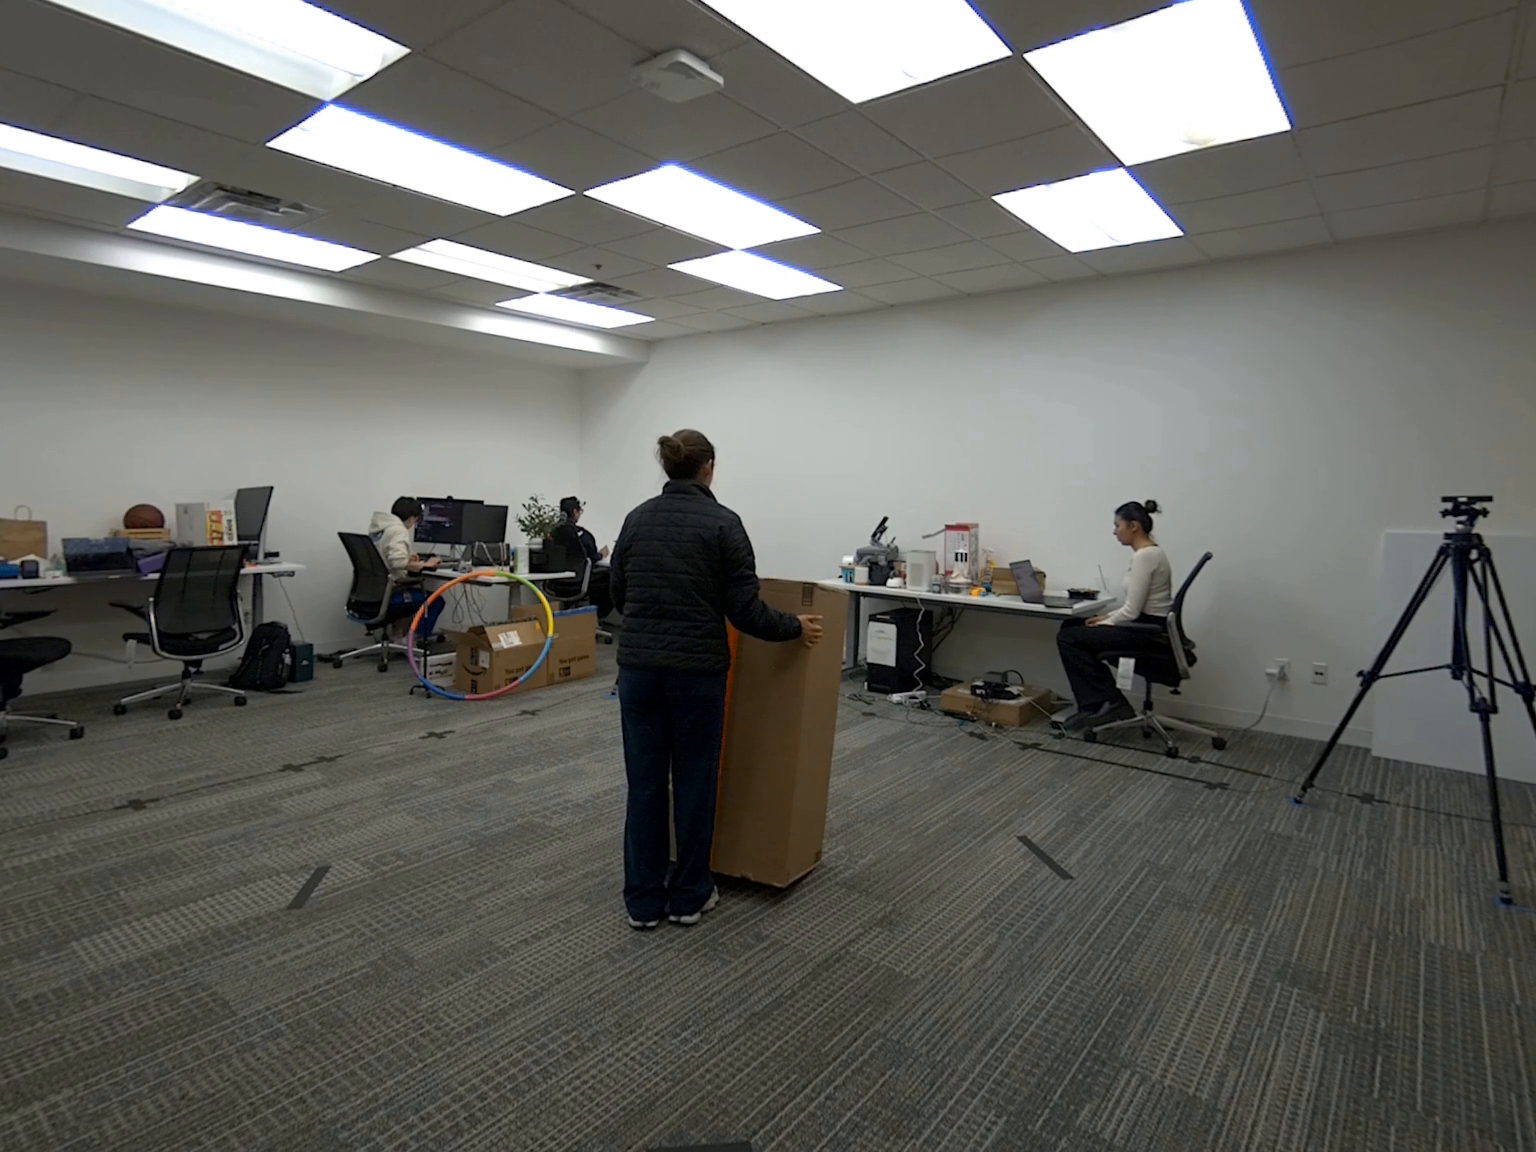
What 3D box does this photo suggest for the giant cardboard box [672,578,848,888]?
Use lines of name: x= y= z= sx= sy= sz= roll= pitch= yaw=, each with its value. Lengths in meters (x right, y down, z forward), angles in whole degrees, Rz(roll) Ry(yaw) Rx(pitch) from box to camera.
giant cardboard box: x=-0.060 y=0.521 z=3.186 sx=0.593 sy=1.031 sz=0.413 roll=4 pitch=-6 yaw=25
